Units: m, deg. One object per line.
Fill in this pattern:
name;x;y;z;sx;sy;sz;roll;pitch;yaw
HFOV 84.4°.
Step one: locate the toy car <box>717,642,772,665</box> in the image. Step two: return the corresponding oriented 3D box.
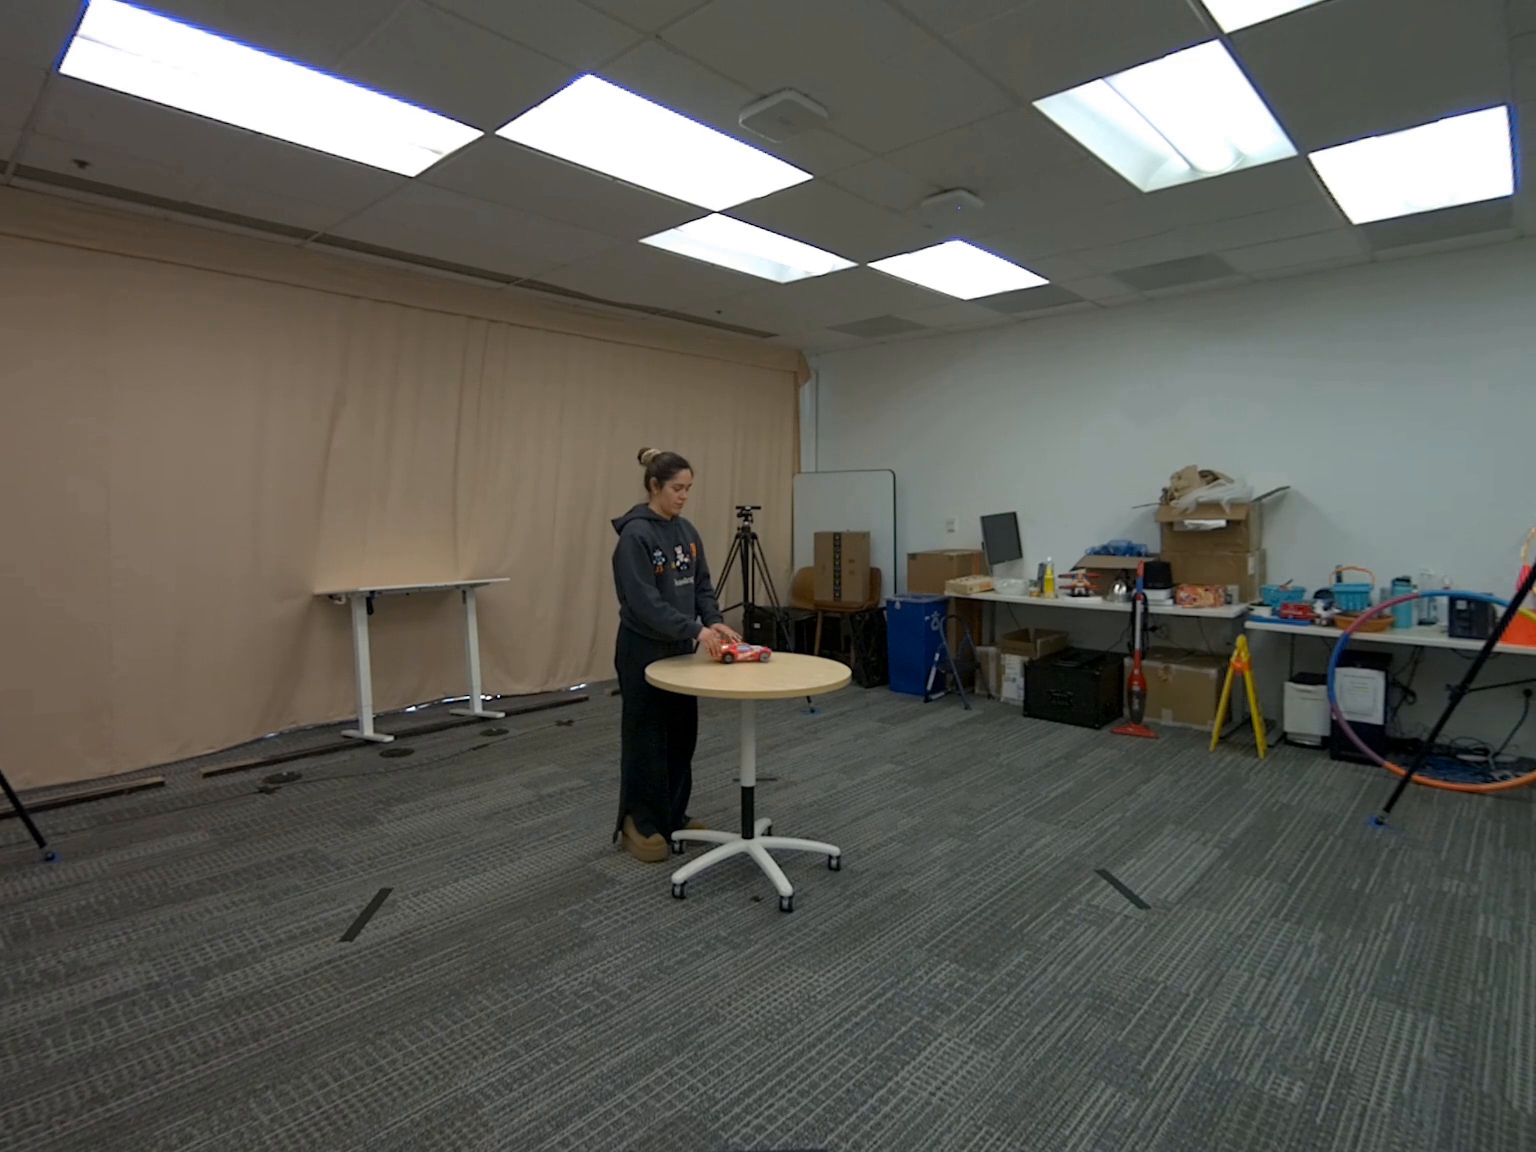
toy car;-0.102;0.300;3.294;0.252;0.083;0.132;8;2;-10
